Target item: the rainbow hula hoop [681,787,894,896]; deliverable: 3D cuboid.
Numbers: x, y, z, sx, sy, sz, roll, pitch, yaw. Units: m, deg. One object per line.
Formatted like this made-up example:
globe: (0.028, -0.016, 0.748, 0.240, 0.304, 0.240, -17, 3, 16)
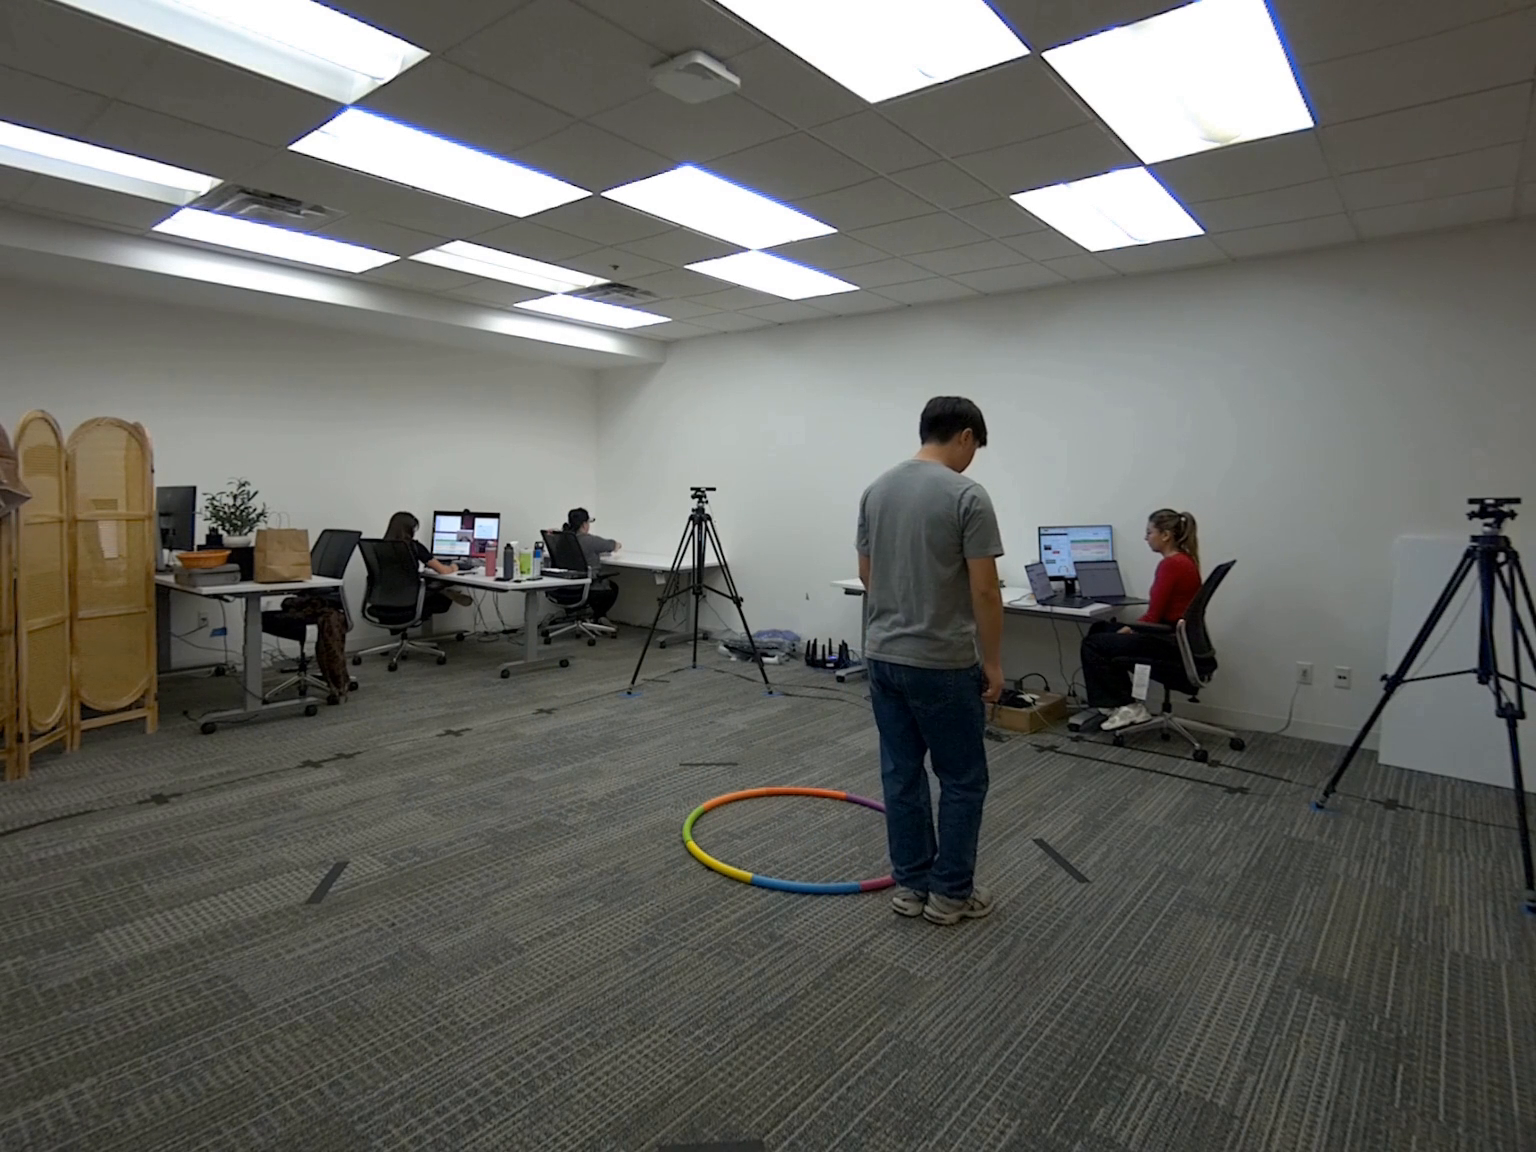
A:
rainbow hula hoop: (0.135, 1.017, 3.401, 0.978, 0.035, 0.984, 1, 6, -2)
